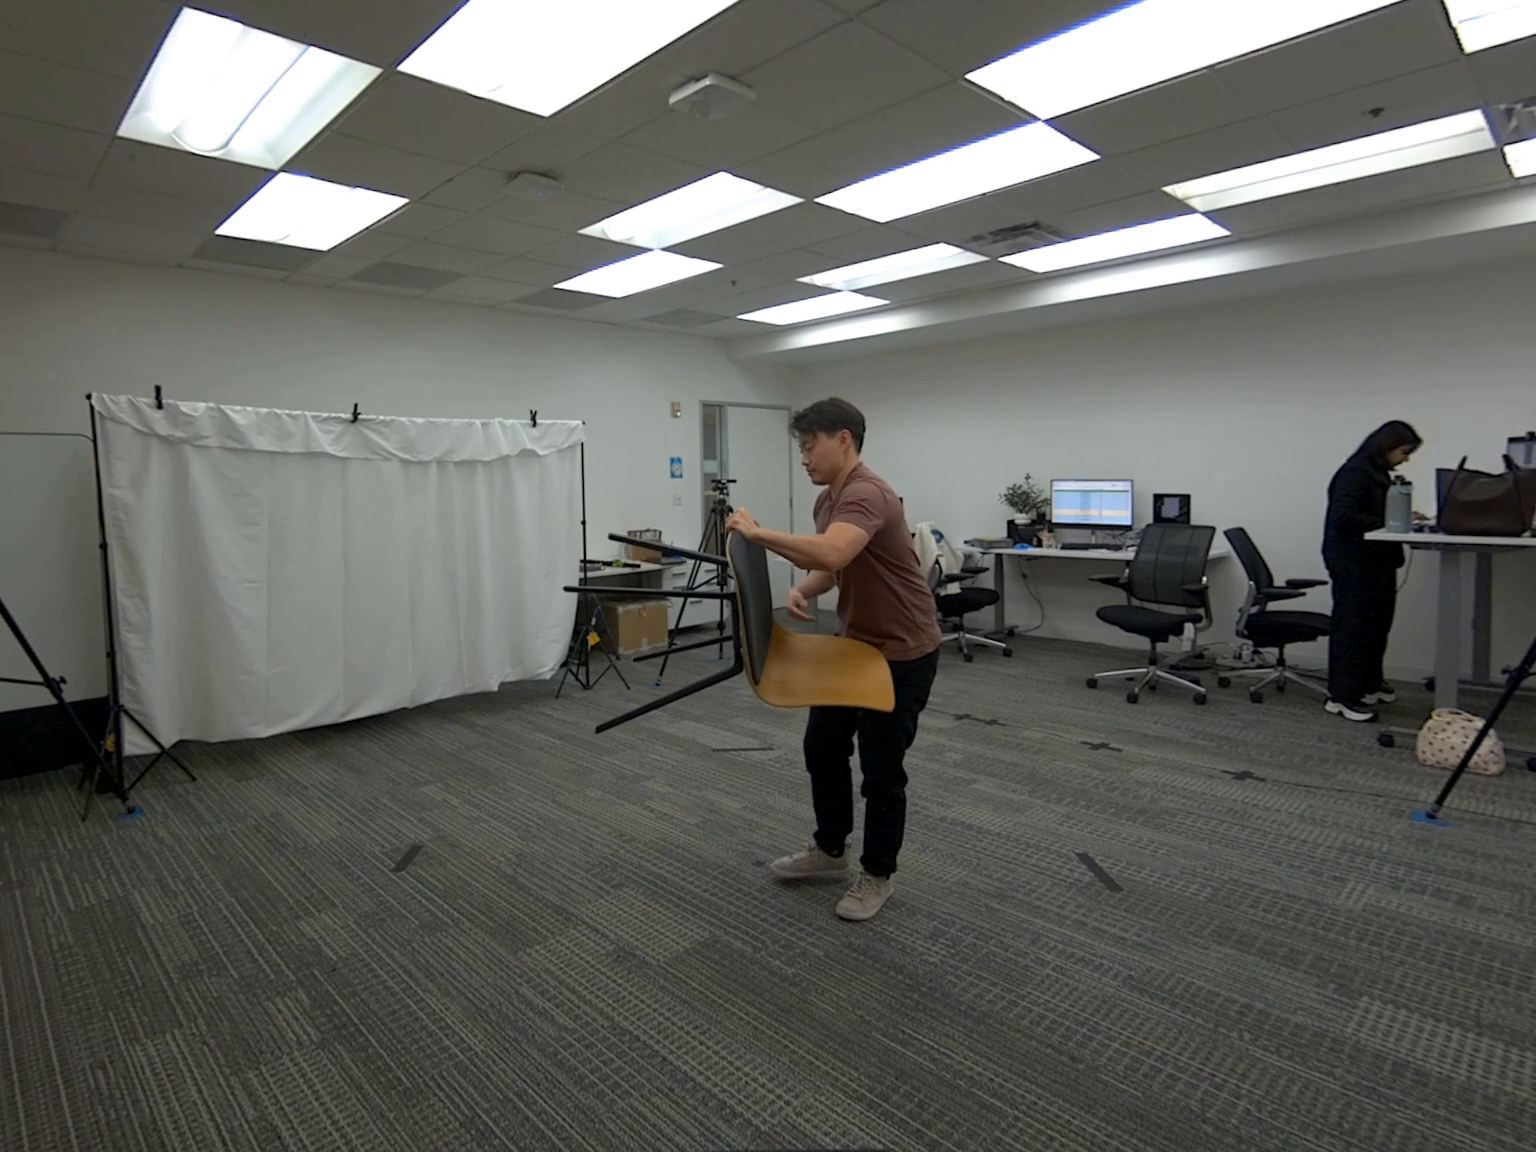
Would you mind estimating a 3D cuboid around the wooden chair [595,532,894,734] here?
[{"bbox_3d":[-0.072,0.121,2.485,0.886,0.514,0.482,0,19,10],"label":"wooden chair"}]
